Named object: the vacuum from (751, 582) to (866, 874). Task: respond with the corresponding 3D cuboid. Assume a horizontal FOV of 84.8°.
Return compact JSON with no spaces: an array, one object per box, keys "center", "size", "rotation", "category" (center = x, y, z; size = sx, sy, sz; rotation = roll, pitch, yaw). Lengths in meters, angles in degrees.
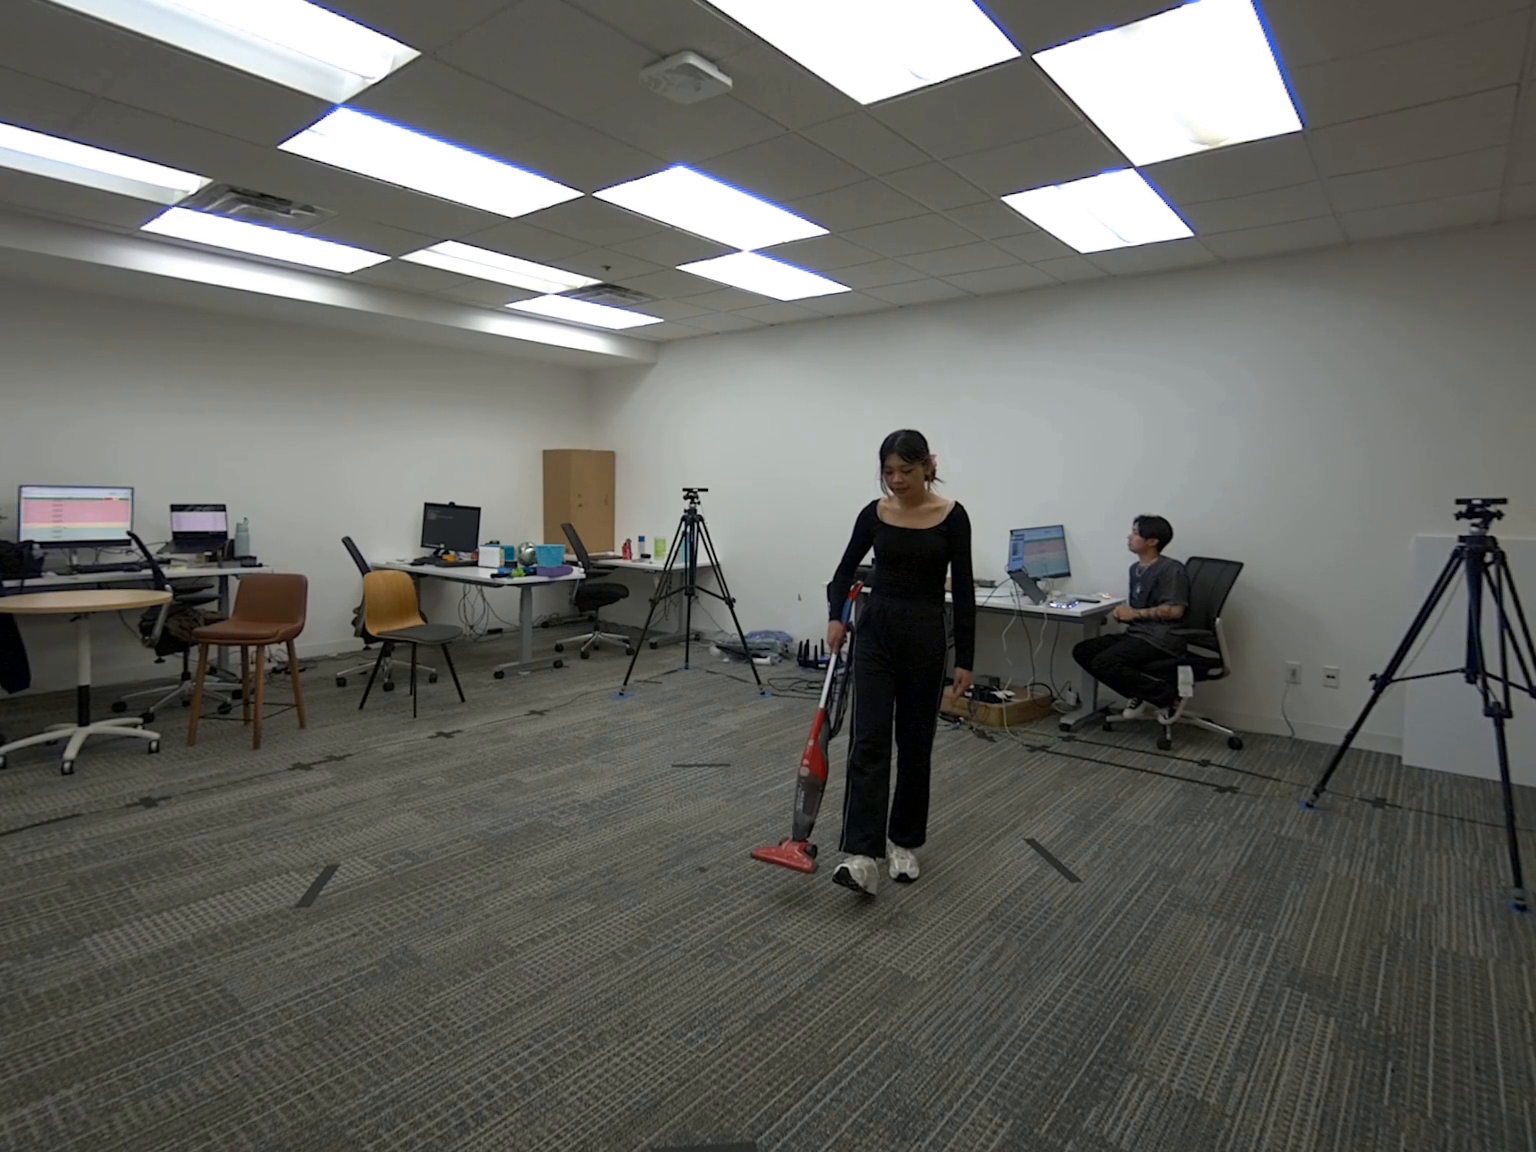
[{"center":[0.205,0.503,3.128],"size":[0.260,1.062,0.138],"rotation":[-3,-28,41],"category":"vacuum"}]
